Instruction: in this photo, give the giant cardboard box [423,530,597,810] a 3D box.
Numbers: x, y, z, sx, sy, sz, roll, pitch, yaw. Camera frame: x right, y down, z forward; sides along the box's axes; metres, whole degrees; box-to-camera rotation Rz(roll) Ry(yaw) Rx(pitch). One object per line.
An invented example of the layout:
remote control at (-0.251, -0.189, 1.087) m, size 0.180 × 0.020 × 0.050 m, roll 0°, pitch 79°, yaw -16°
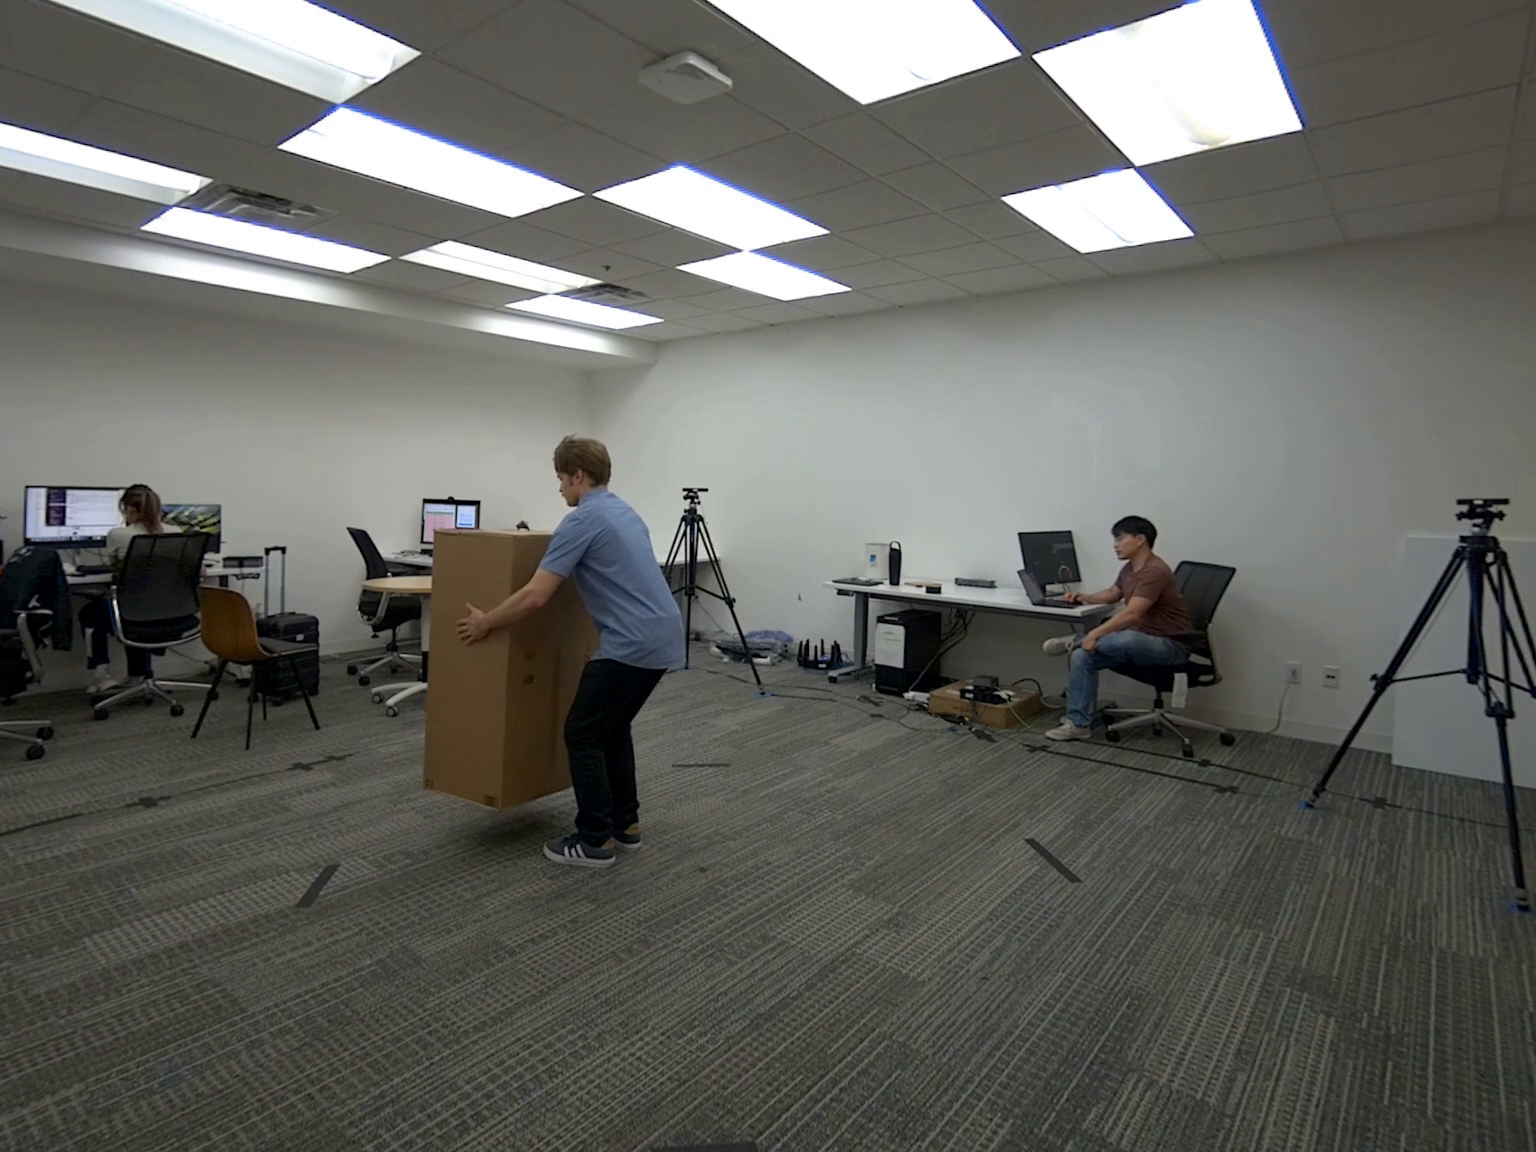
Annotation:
giant cardboard box at (-1.027, 0.333, 3.451) m, size 0.439 × 1.025 × 0.561 m, roll 4°, pitch 2°, yaw 29°
